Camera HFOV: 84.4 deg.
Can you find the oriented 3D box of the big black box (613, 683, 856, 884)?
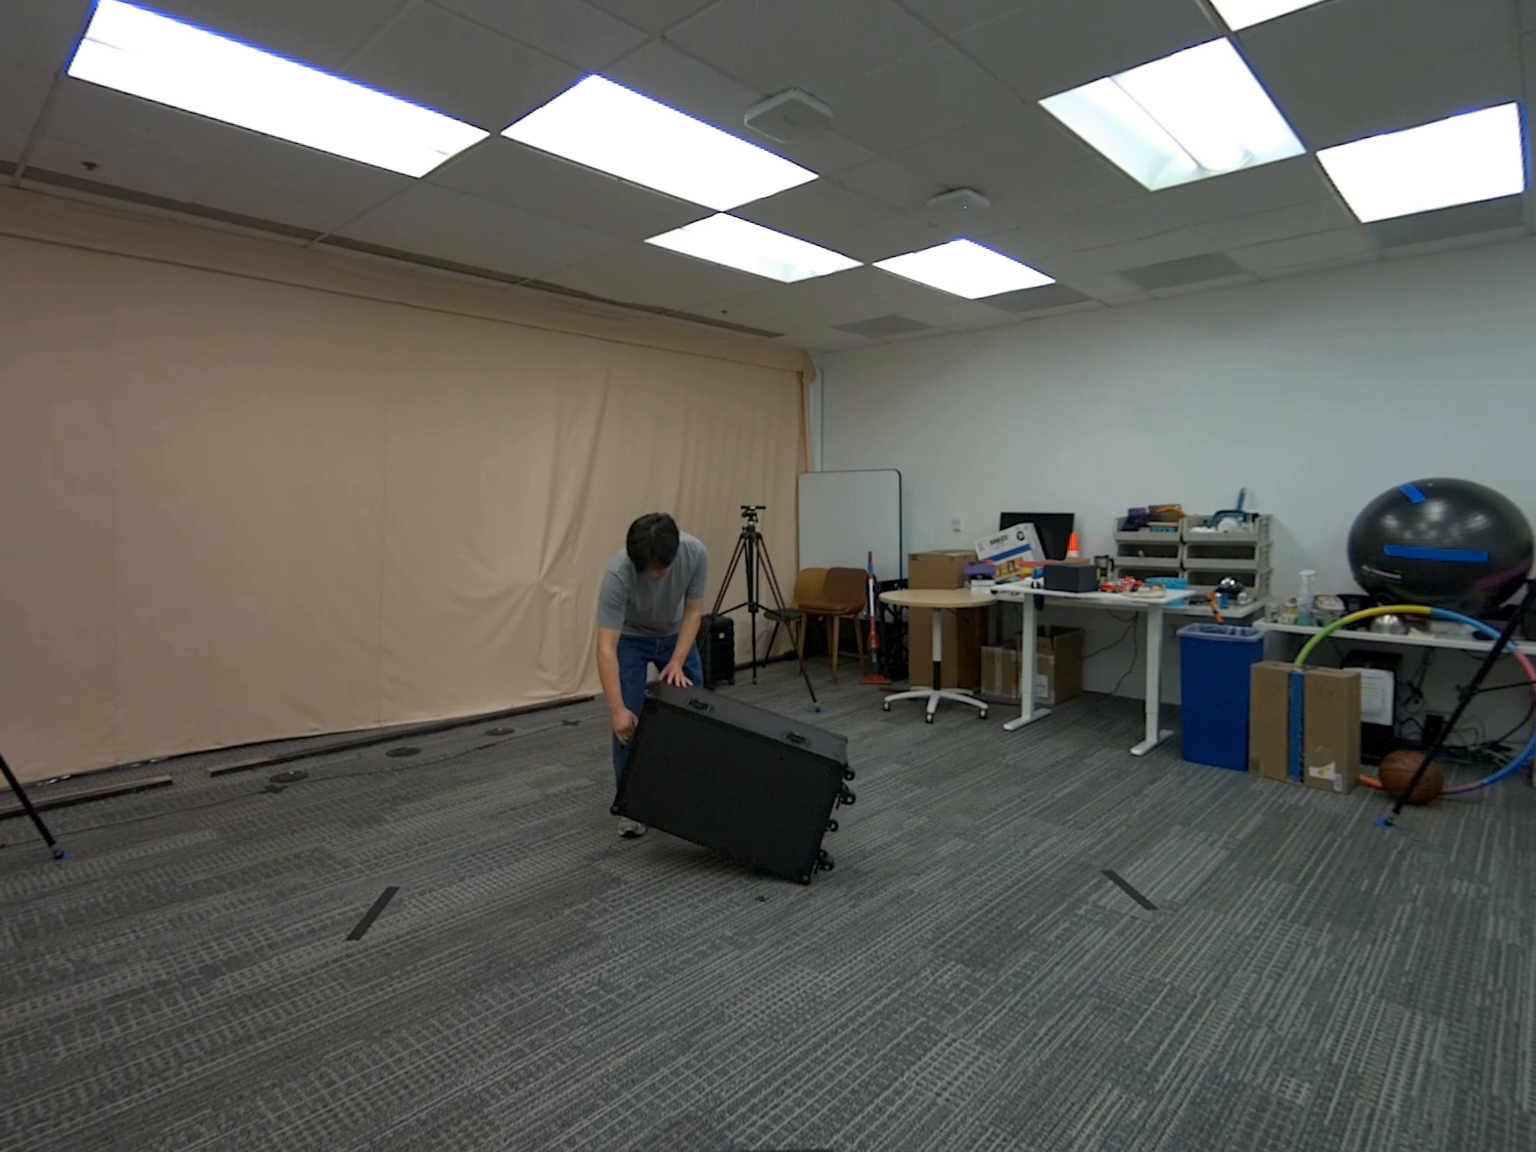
[{"bbox_3d":[-0.101,0.788,3.286,0.871,0.520,0.393,17,6,8],"label":"big black box"}]
